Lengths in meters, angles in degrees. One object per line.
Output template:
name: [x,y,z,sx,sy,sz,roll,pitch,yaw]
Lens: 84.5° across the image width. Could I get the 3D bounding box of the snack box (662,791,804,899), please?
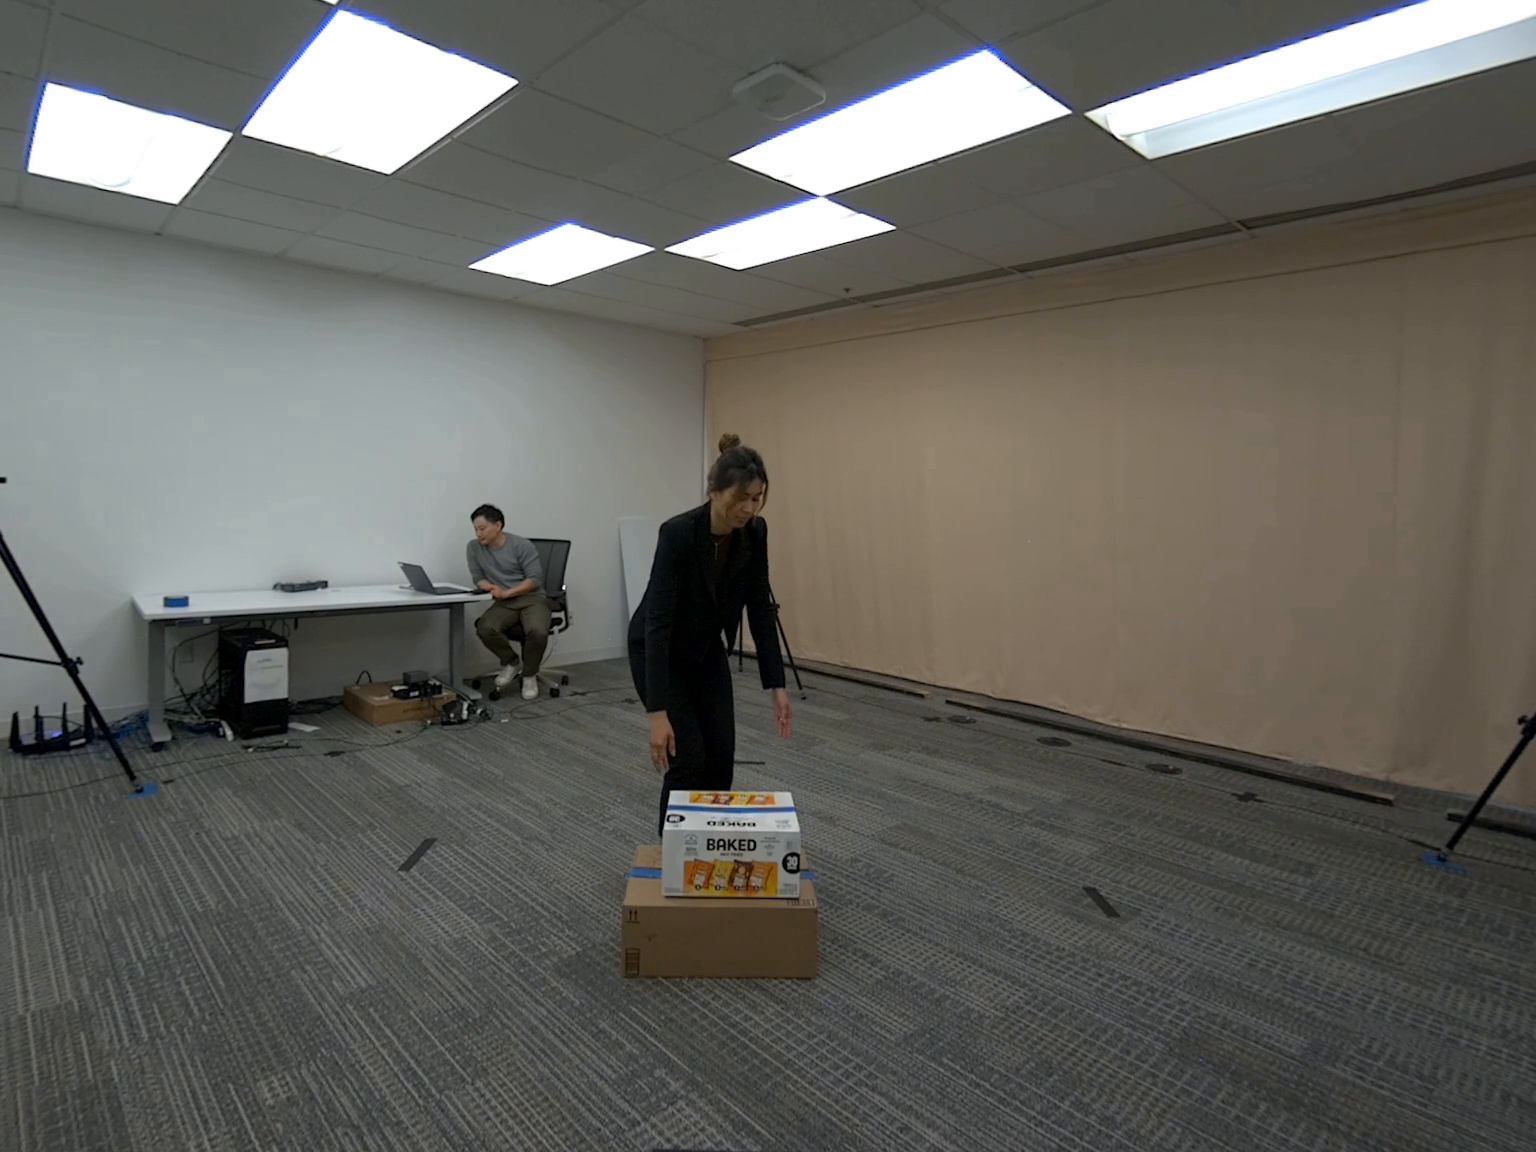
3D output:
snack box: [-0.122,0.829,2.619,0.405,0.205,0.341,2,3,-2]
